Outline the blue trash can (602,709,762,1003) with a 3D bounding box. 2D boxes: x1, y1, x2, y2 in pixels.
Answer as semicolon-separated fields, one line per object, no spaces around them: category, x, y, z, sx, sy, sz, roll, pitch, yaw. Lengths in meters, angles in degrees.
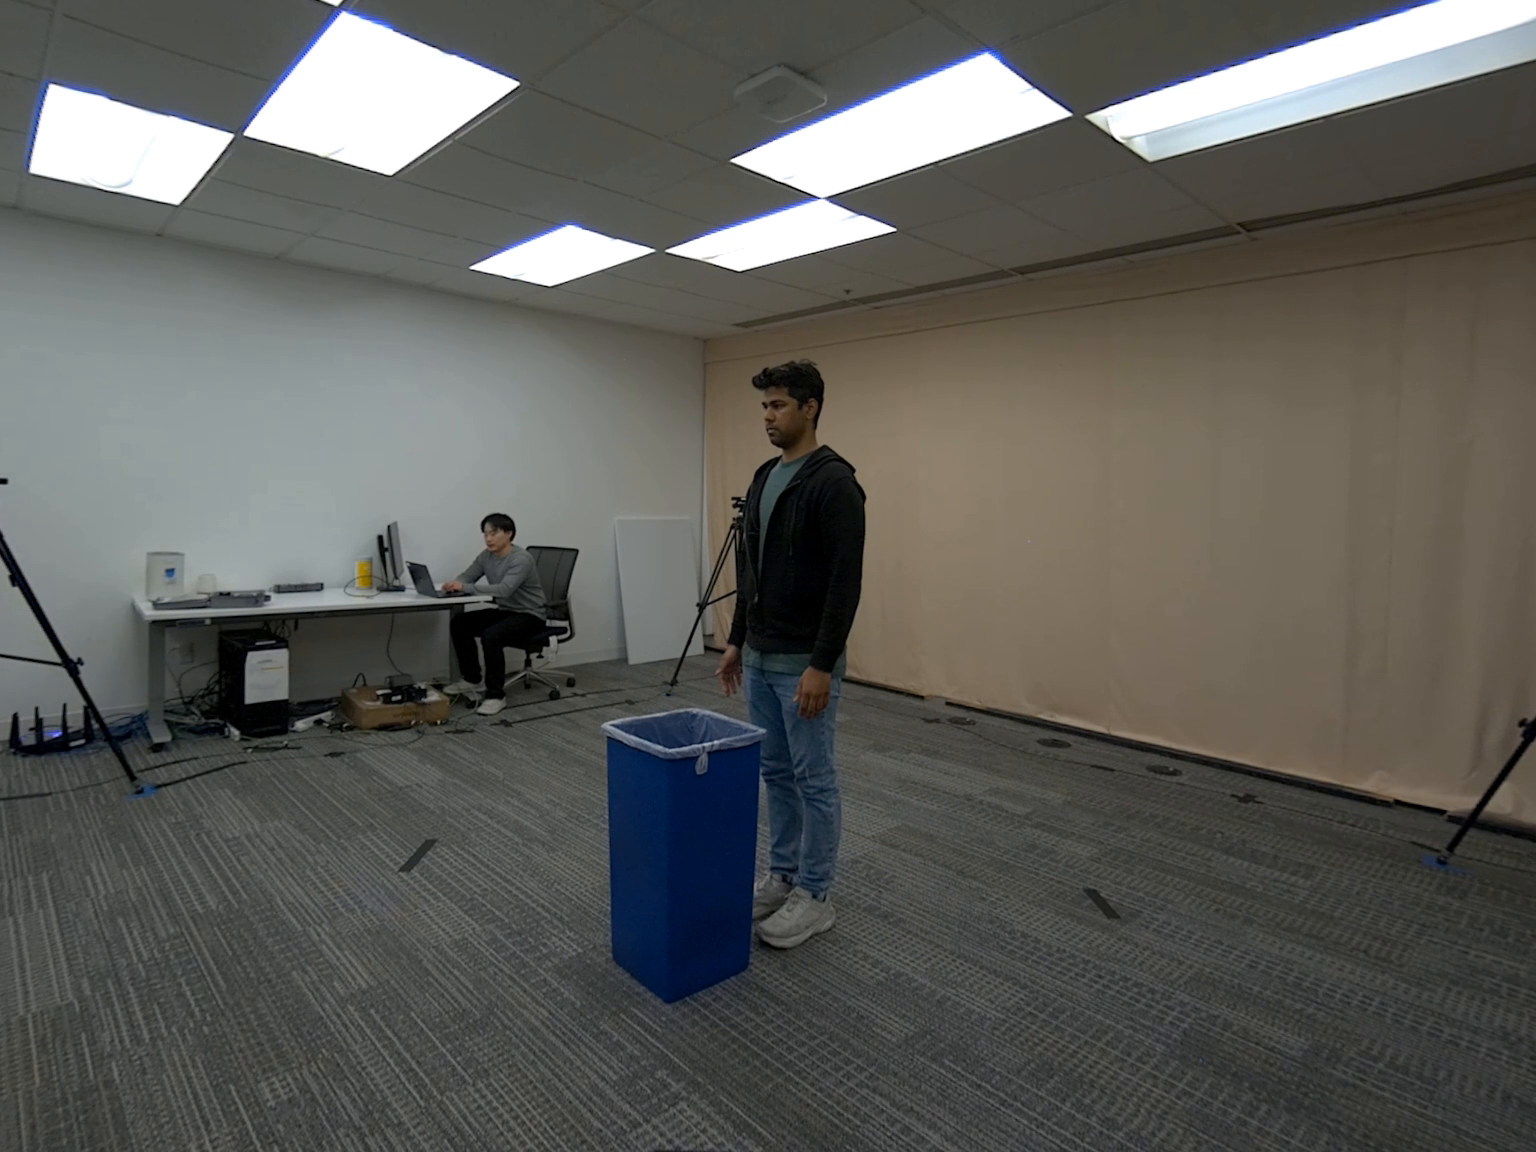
blue trash can;-0.271;0.803;2.494;0.369;0.712;0.383;-1;4;-41
